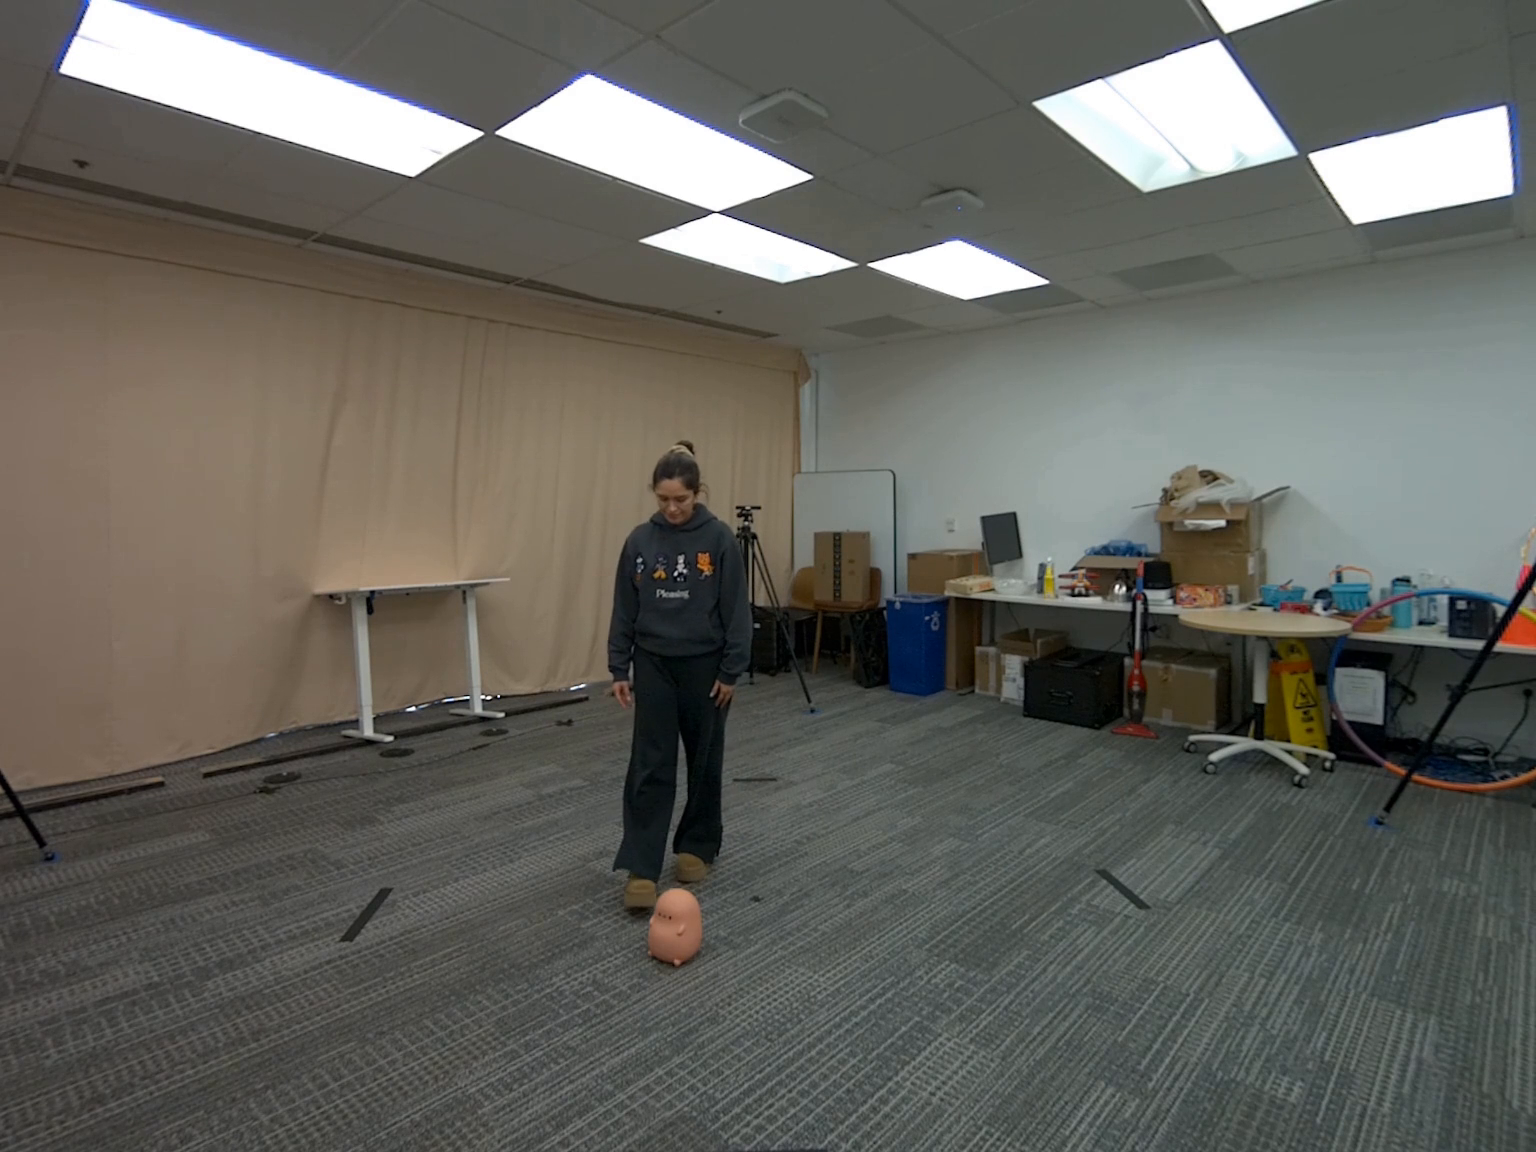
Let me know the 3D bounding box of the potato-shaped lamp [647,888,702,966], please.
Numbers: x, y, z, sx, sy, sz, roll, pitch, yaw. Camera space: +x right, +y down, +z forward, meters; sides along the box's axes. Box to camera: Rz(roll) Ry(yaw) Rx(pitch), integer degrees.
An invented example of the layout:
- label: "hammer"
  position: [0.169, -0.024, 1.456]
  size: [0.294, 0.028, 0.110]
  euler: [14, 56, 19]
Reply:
- label: "potato-shaped lamp"
  position: [-0.275, 1.073, 2.620]
  size: [0.170, 0.198, 0.166]
  euler: [2, 4, 37]
